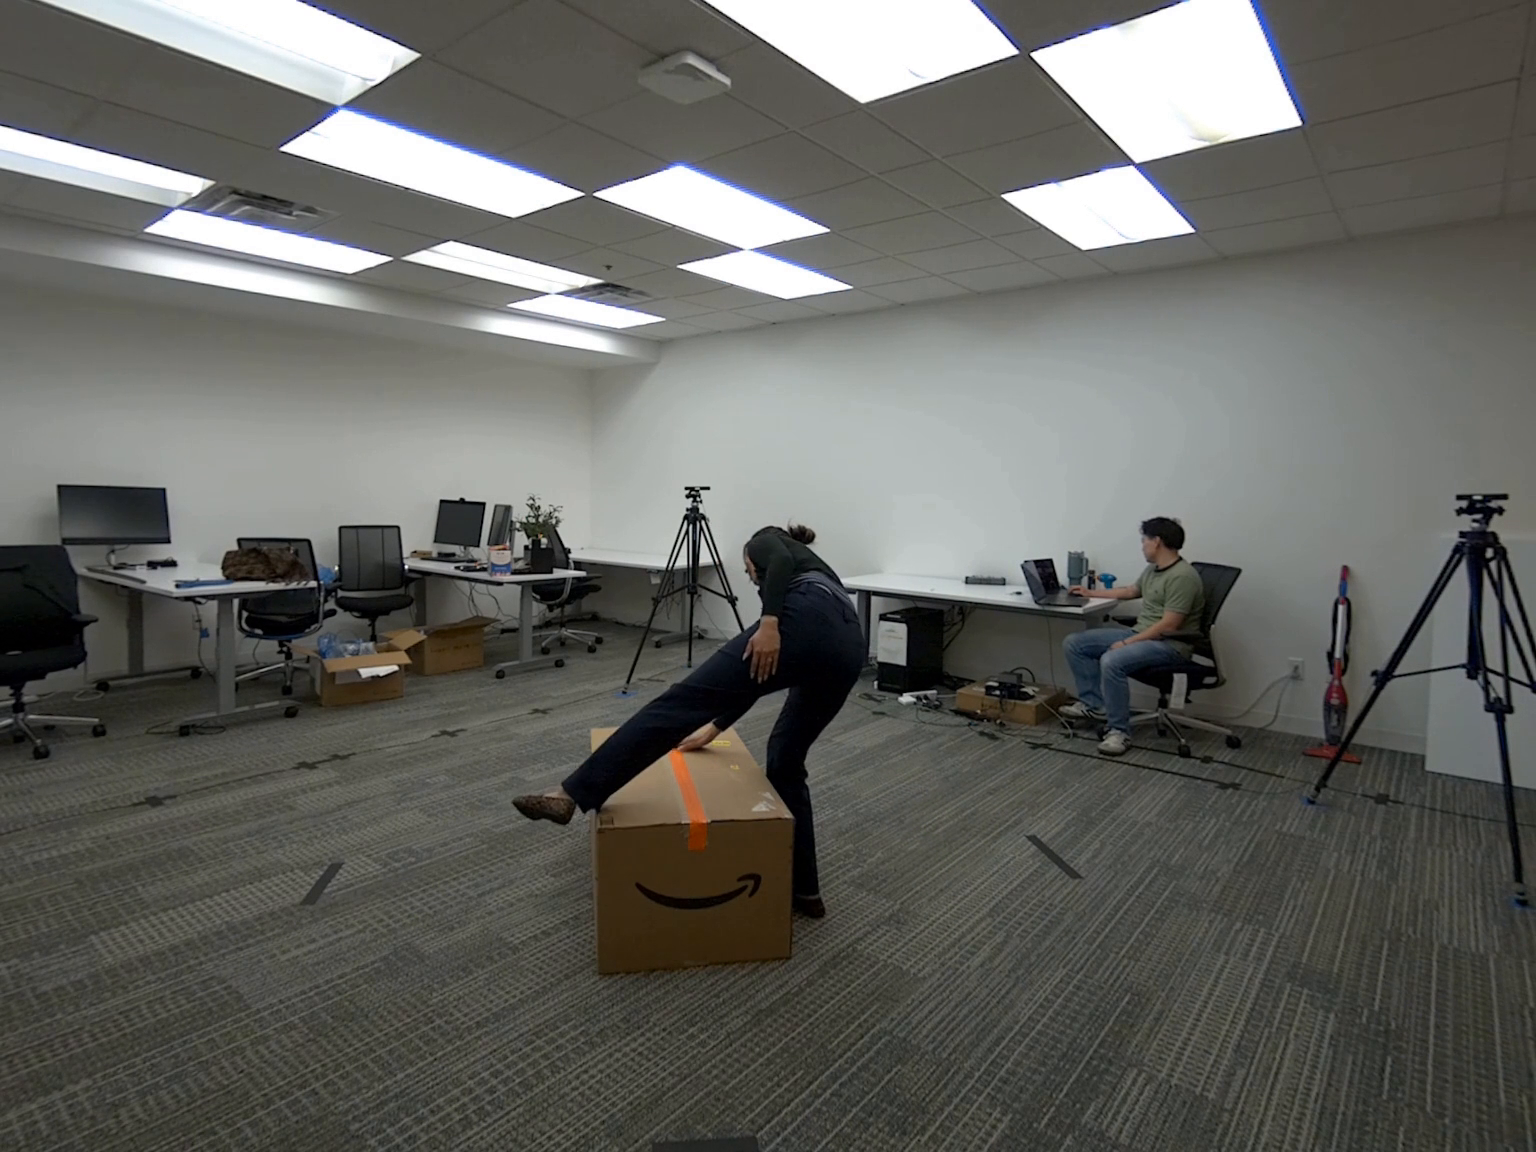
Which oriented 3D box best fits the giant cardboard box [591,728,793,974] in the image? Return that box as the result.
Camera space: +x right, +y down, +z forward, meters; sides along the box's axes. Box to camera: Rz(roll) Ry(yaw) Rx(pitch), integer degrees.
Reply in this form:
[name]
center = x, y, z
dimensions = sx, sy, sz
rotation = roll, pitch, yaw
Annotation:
[giant cardboard box]
center = -0.330, 0.860, 2.951
dimensions = 0.570, 0.425, 1.042
rotation = 0, 5, -12
